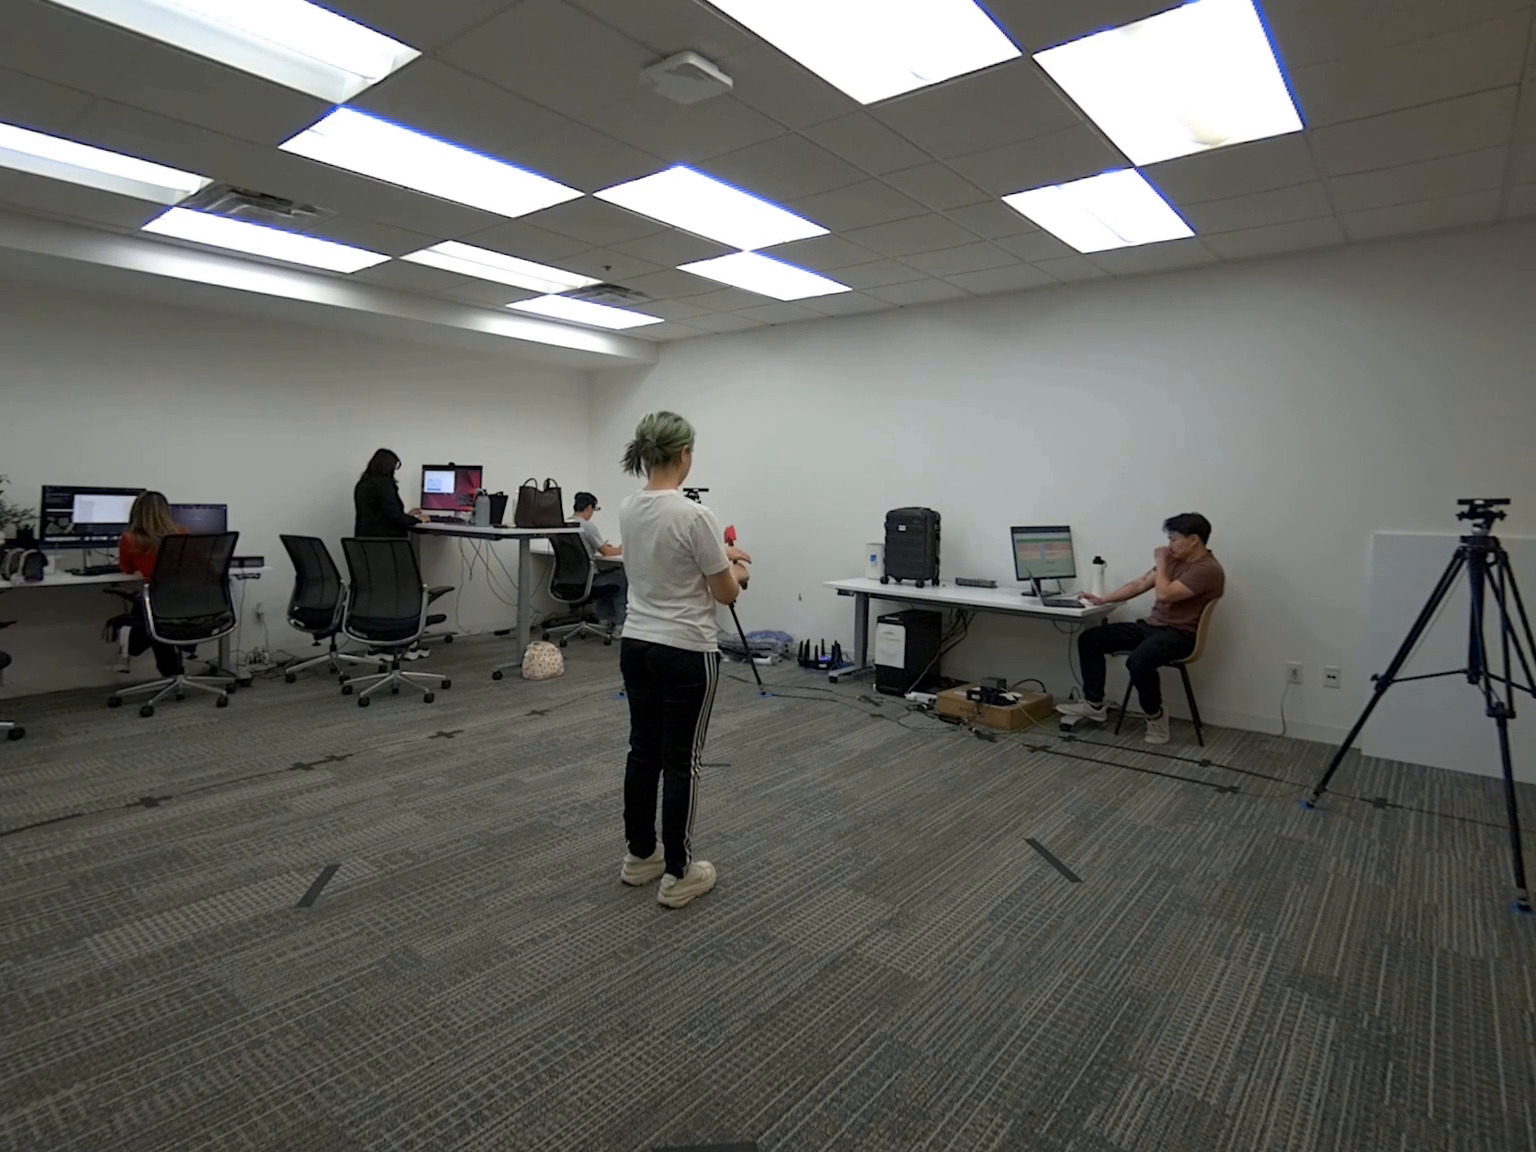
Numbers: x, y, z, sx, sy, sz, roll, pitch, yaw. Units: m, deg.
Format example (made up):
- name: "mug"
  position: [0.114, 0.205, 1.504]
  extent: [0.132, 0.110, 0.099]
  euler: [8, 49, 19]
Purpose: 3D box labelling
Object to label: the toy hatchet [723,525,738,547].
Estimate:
- name: "toy hatchet"
  position: [-0.131, -0.086, 3.181]
  extent: [0.029, 0.128, 0.280]
  euler: [-3, 44, -18]
